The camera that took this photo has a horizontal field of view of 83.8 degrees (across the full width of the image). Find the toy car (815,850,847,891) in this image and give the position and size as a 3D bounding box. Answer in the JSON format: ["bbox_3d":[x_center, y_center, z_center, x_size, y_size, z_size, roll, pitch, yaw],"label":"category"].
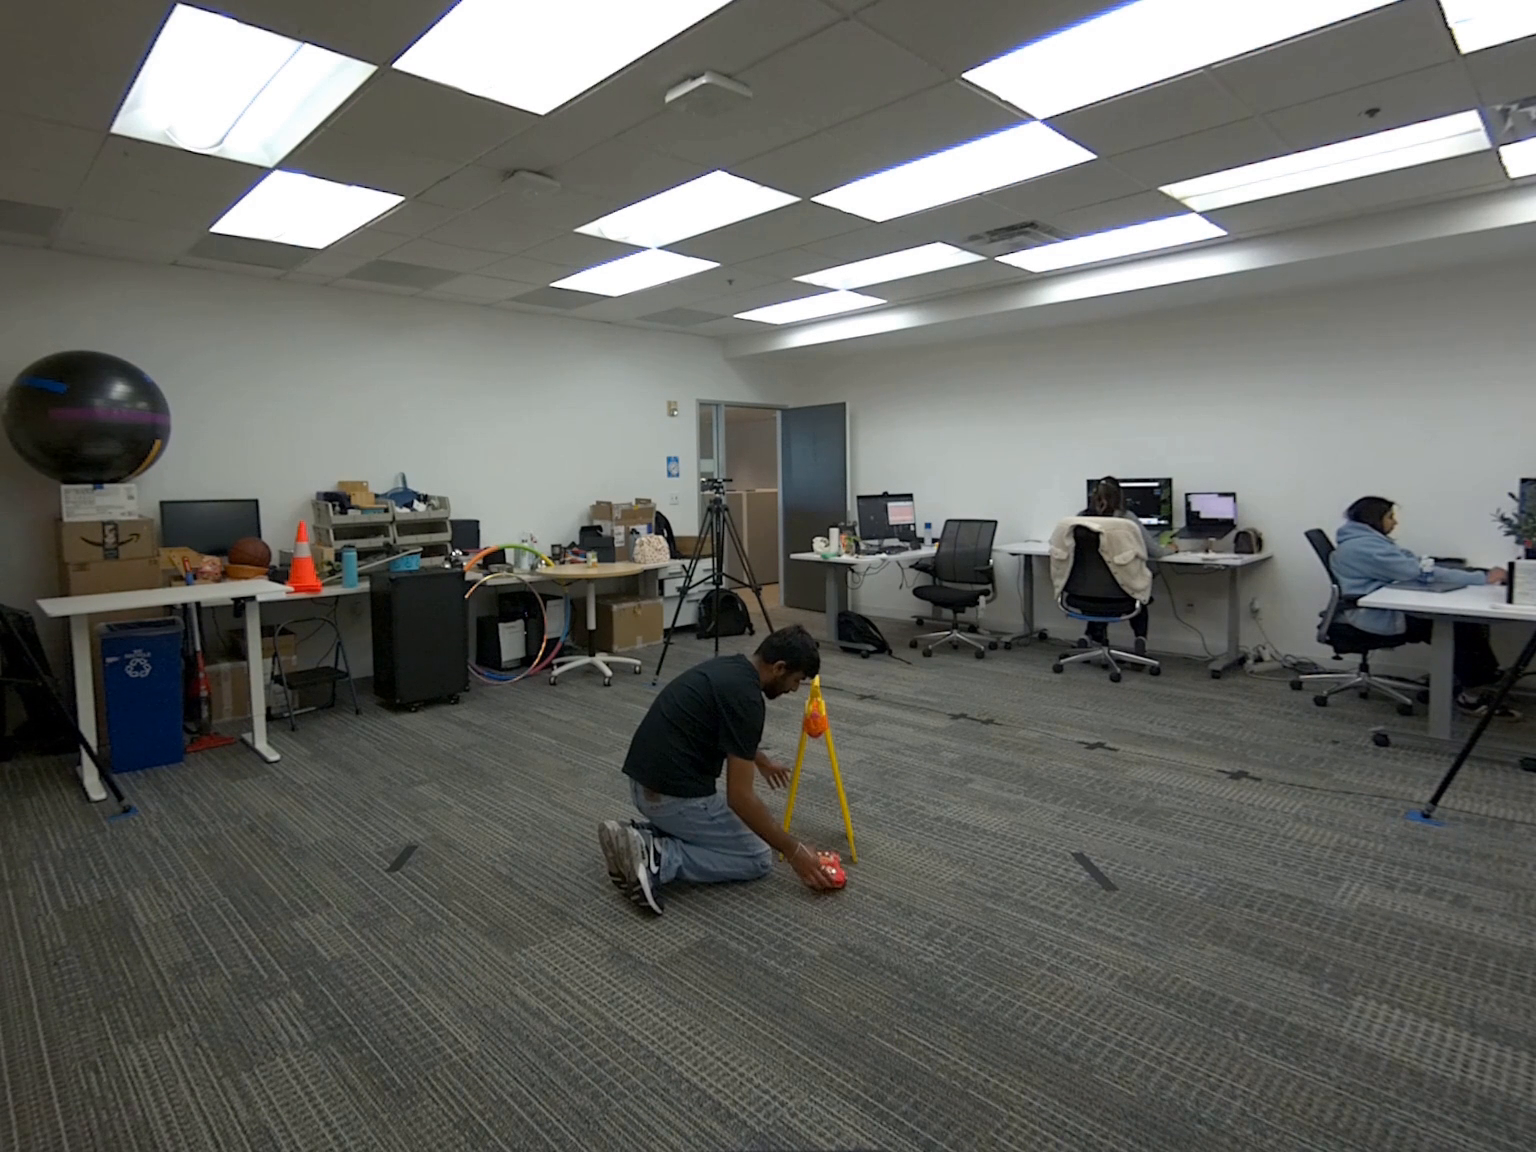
[{"bbox_3d":[0.196,1.016,2.974,0.130,0.083,0.255,0,-1,-5],"label":"toy car"}]
